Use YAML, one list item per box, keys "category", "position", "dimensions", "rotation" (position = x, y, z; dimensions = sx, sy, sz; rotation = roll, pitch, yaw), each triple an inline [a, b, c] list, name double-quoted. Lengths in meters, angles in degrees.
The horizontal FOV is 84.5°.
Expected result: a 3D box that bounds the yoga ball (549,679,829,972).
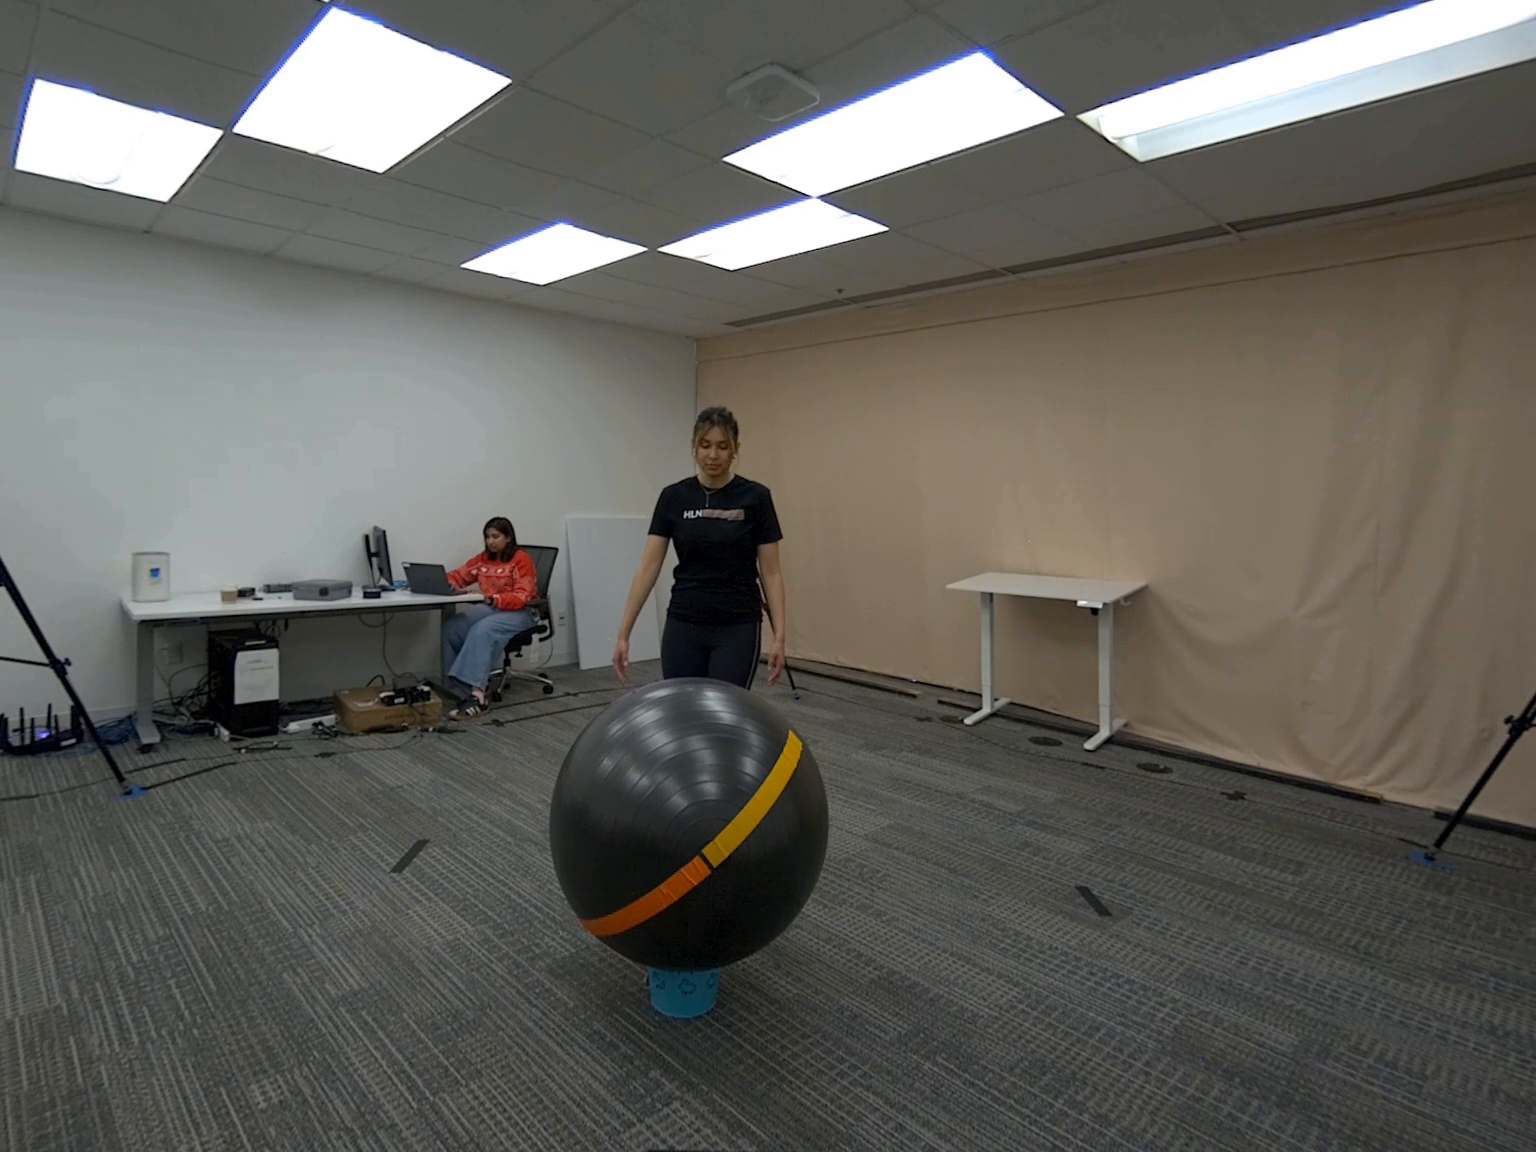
- category: "yoga ball"
  position: [-0.215, 0.668, 2.297]
  dimensions: [0.757, 0.756, 0.761]
  rotation: [1, 4, -1]
